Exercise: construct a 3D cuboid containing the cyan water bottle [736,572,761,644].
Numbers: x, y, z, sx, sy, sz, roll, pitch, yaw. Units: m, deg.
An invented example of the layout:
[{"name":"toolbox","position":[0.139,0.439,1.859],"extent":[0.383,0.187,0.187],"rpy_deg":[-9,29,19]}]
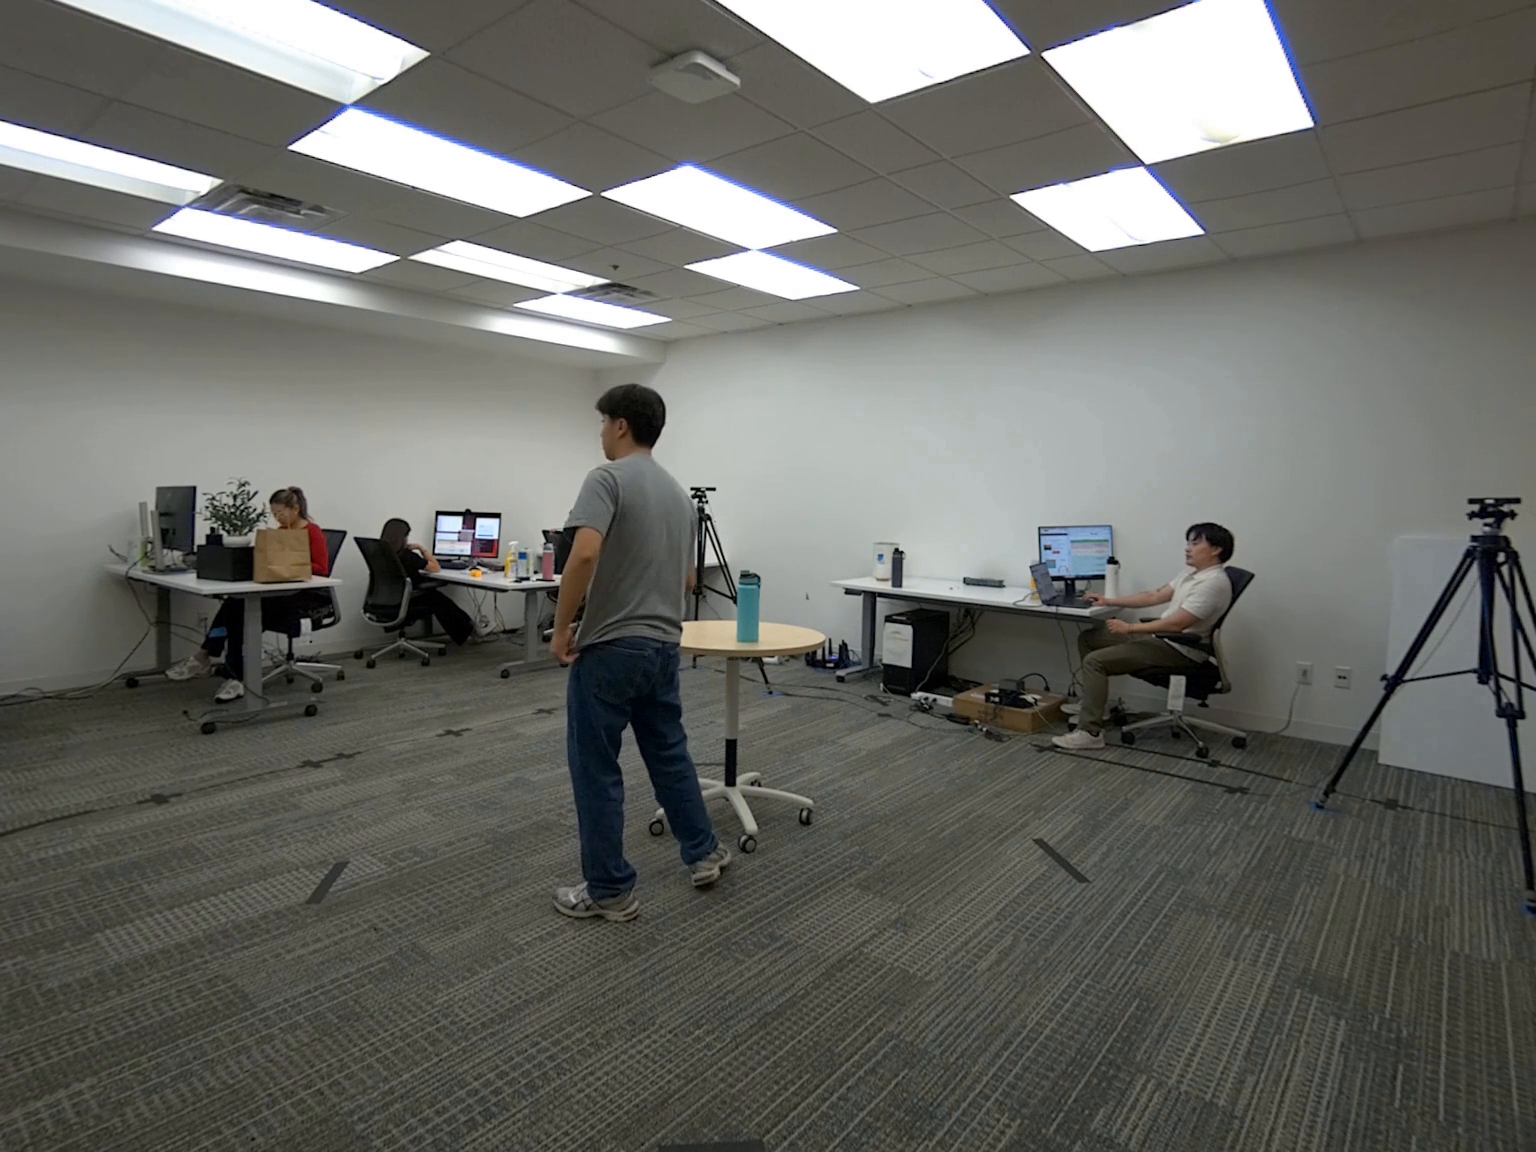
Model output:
[{"name":"cyan water bottle","position":[-0.085,0.117,3.389],"extent":[0.092,0.282,0.093],"rpy_deg":[2,3,-2]}]
